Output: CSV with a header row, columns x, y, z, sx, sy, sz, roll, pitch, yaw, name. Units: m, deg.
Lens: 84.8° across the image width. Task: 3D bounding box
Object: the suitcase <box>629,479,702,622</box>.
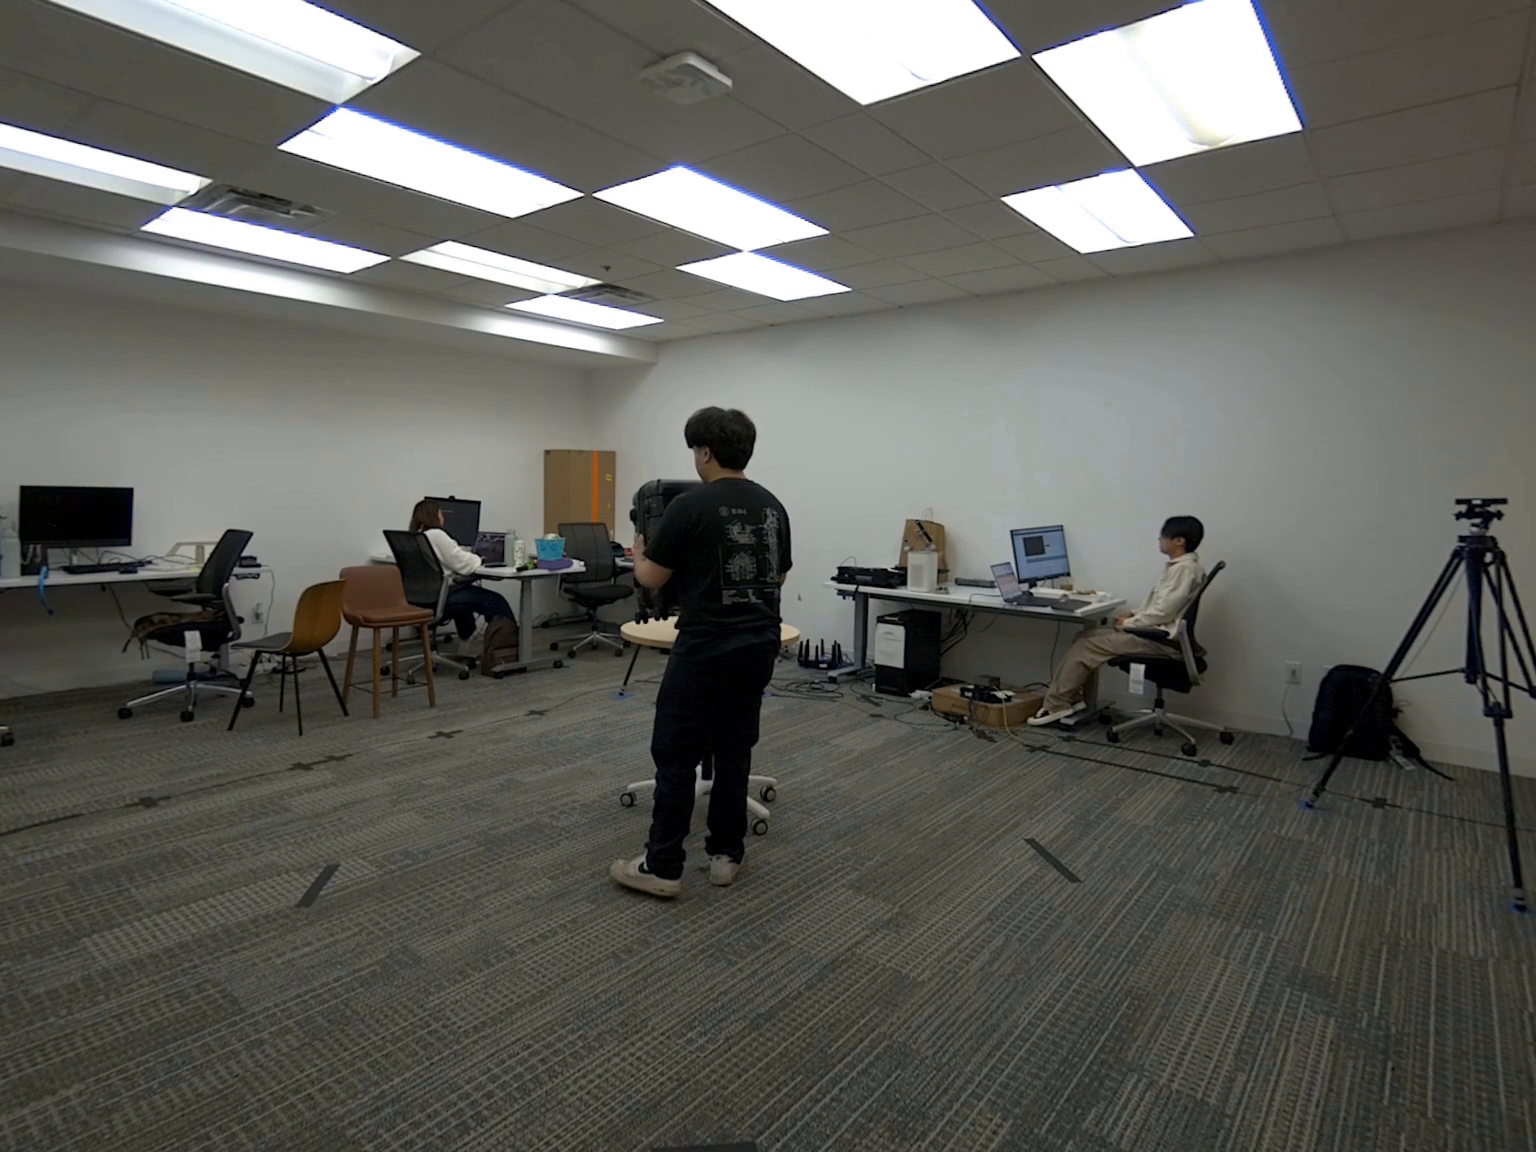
x,y,z,sx,sy,sz,roll,pitch,yaw,name
-0.337,-0.105,3.300,0.366,0.553,0.253,-2,-6,-30,suitcase
